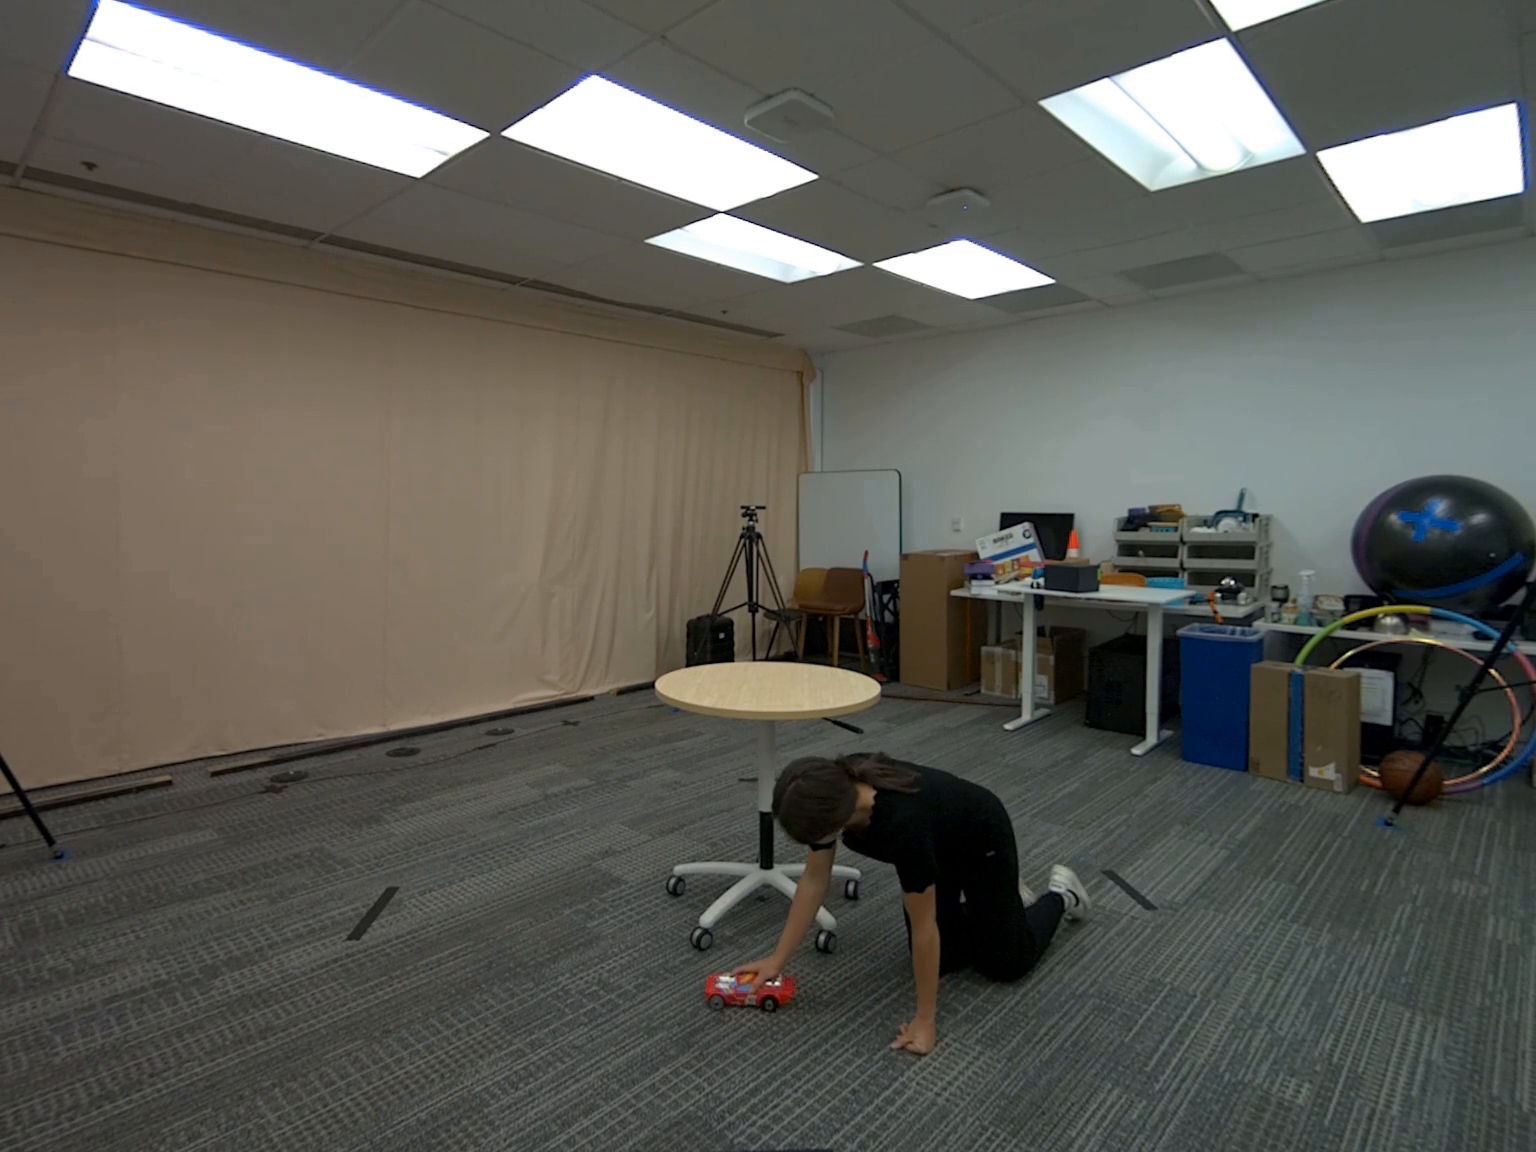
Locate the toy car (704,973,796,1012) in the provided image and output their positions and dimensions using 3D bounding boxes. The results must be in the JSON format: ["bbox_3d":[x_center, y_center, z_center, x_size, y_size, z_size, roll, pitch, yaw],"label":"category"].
[{"bbox_3d":[-0.037,1.170,2.367,0.255,0.083,0.130,-10,3,3],"label":"toy car"}]
